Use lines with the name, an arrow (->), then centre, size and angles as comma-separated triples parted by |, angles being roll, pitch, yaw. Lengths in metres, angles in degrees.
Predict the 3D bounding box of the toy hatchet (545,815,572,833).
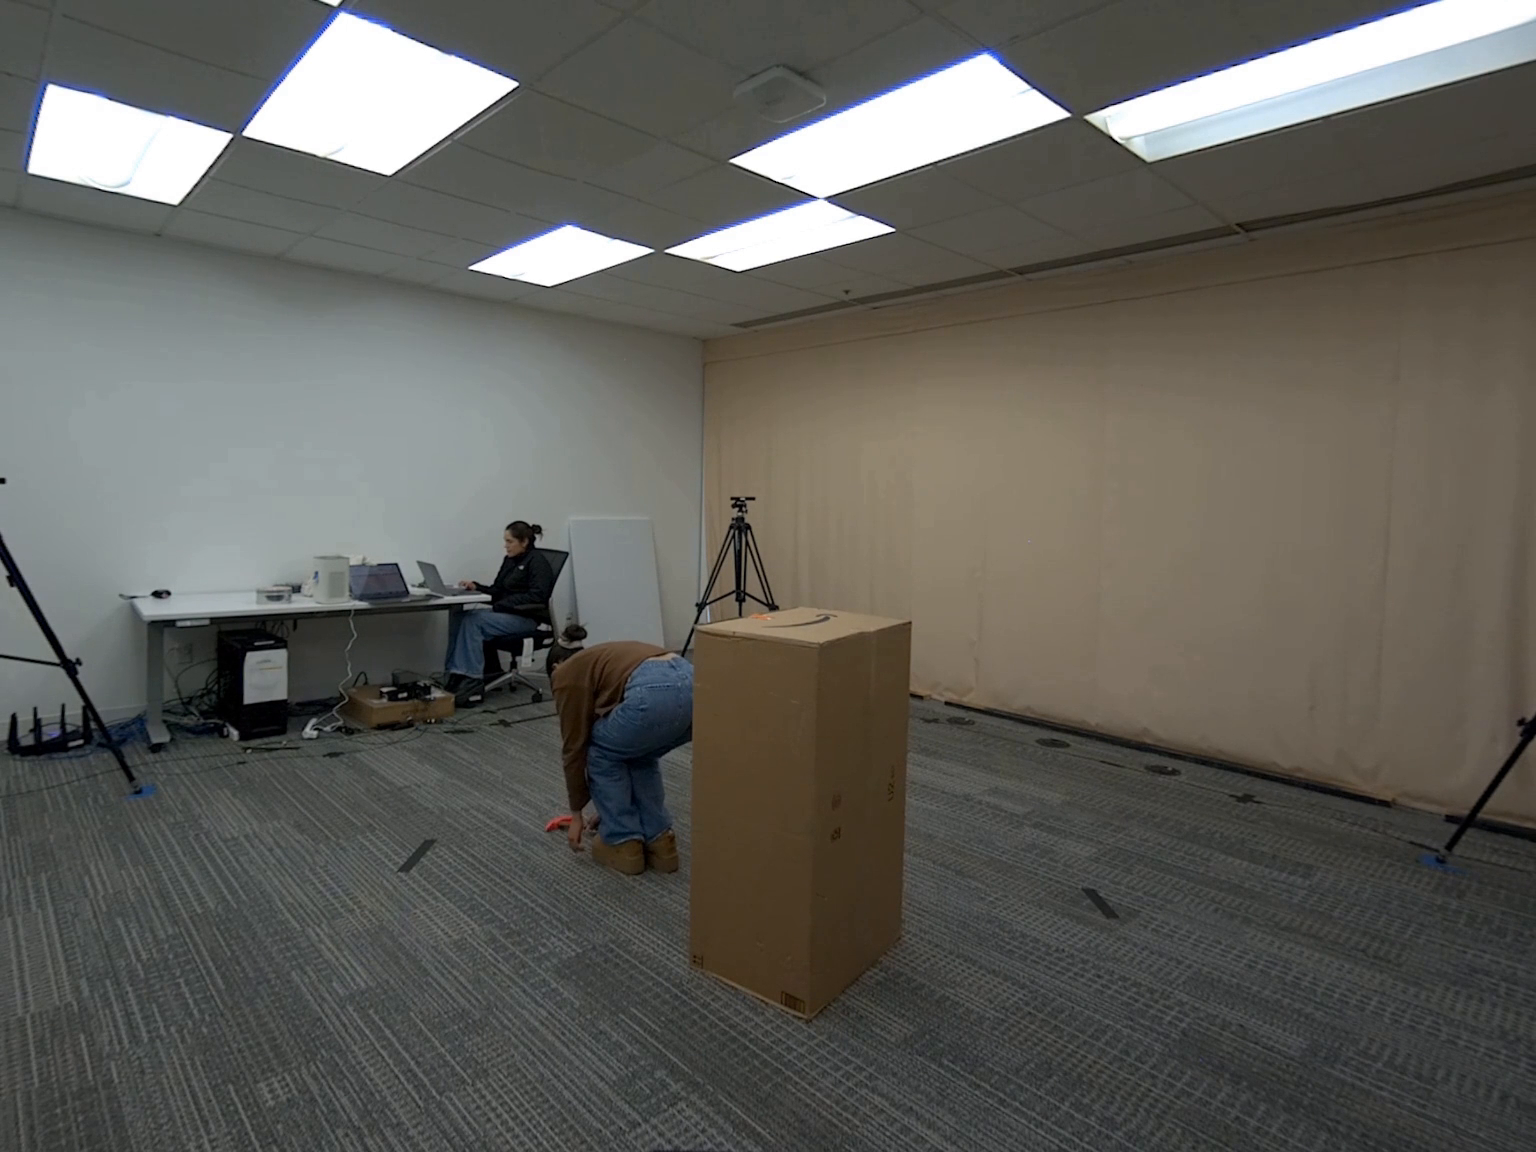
toy hatchet -> -0.796, 1.027, 3.513 | 0.271, 0.029, 0.131 | -3, 6, 7
